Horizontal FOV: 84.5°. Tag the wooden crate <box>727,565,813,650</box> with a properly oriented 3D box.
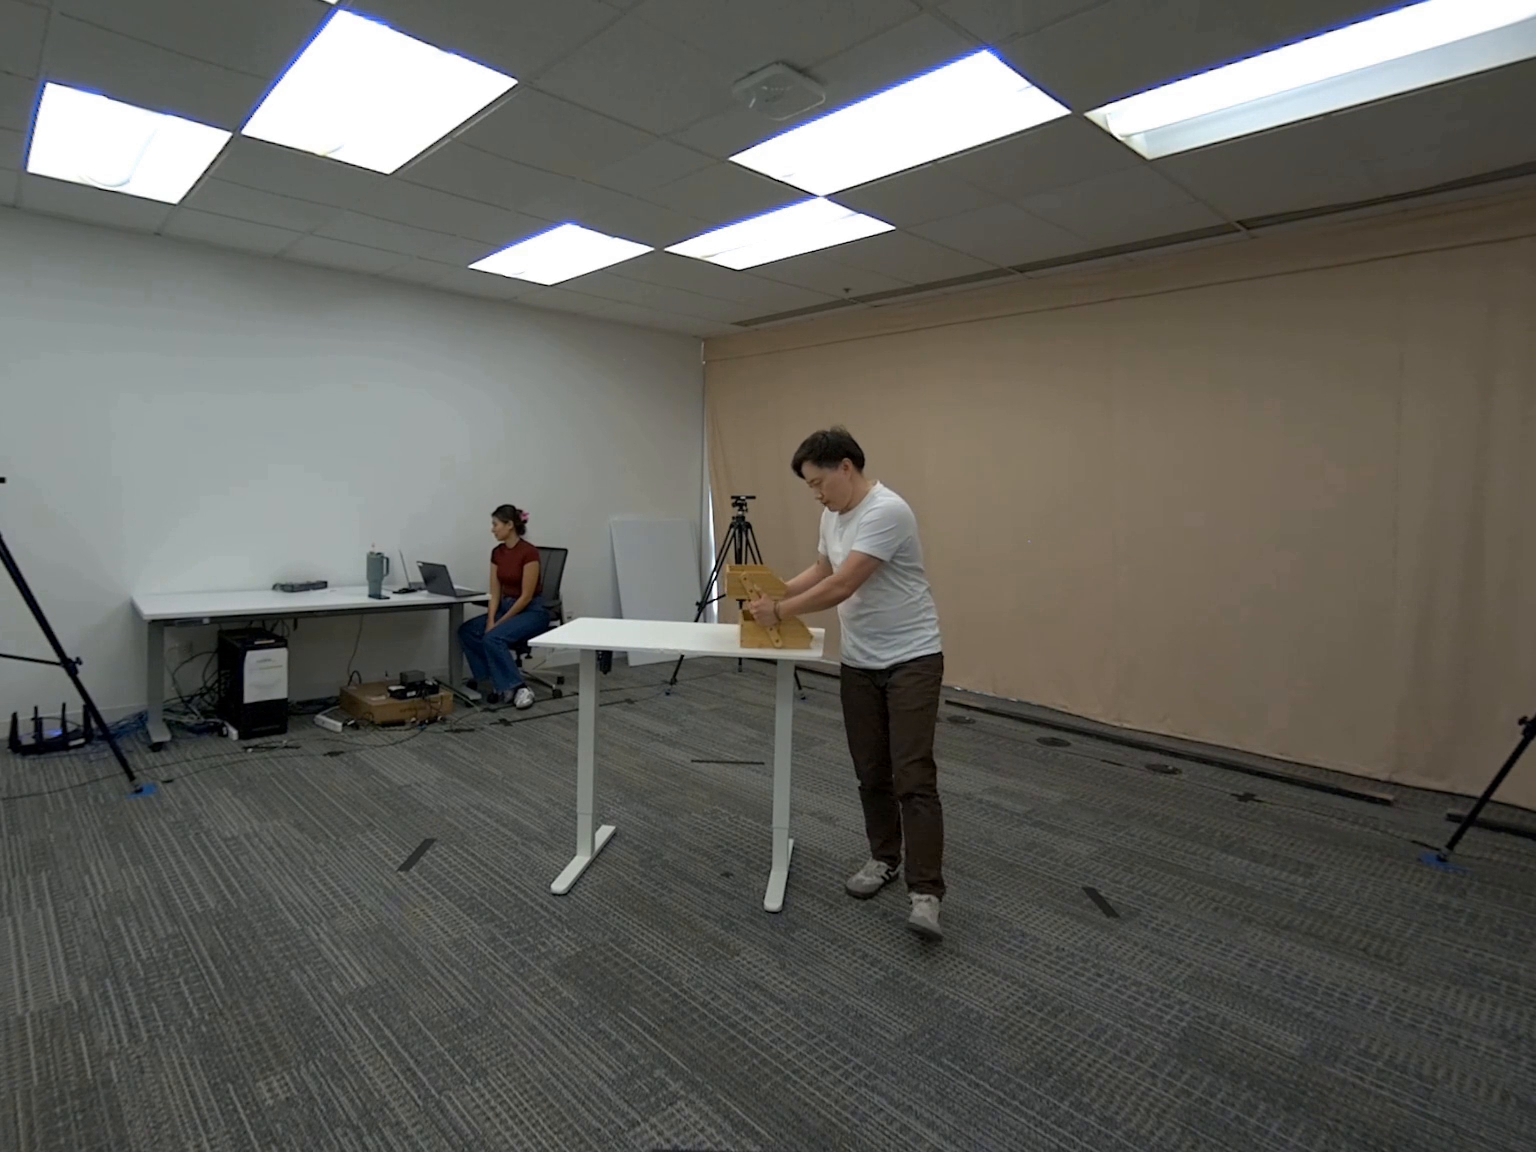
[{"bbox_3d":[-0.003,0.108,3.007,0.302,0.272,0.325,2,4,-1],"label":"wooden crate"}]
